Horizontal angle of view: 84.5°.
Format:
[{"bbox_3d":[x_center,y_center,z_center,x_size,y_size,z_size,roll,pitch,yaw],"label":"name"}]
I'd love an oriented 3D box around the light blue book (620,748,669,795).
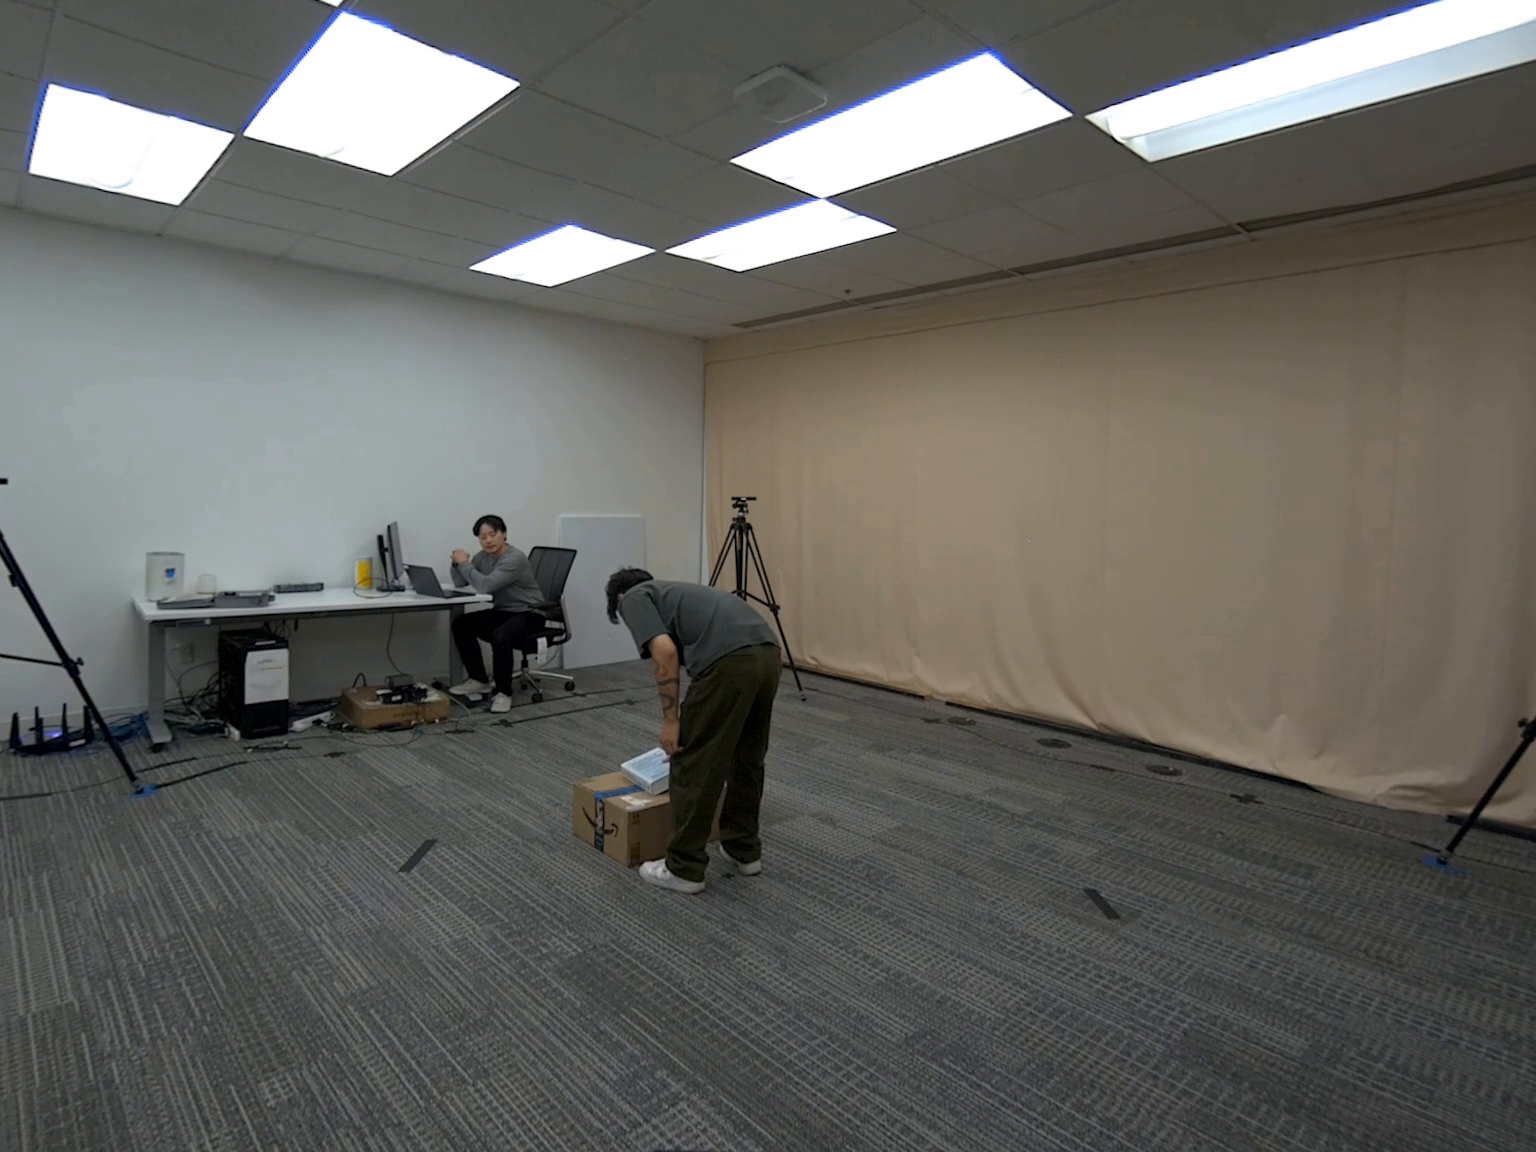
[{"bbox_3d":[-0.479,0.804,3.481,0.189,0.058,0.267,-19,15,-31],"label":"light blue book"}]
